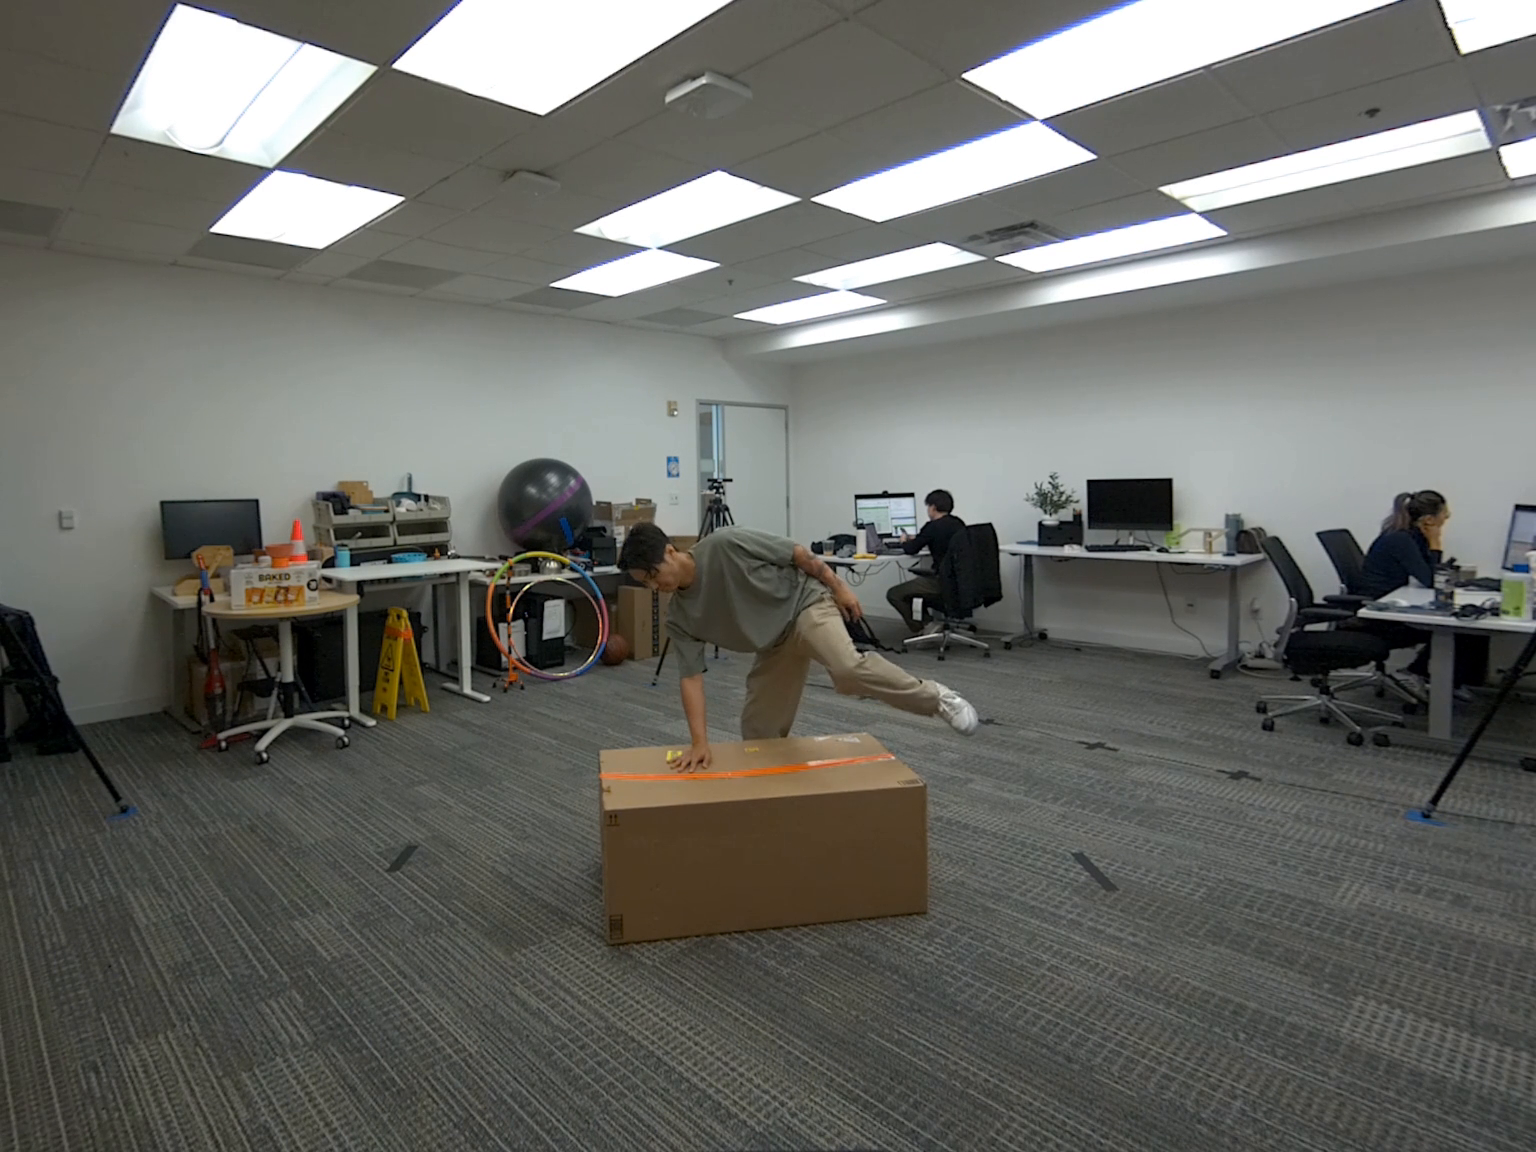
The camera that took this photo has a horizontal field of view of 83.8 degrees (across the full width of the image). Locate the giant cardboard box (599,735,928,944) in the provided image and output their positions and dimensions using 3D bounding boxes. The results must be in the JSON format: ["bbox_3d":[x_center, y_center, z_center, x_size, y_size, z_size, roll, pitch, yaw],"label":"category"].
[{"bbox_3d":[-0.052,0.854,2.909,1.016,0.425,0.585,-2,5,-10],"label":"giant cardboard box"}]
